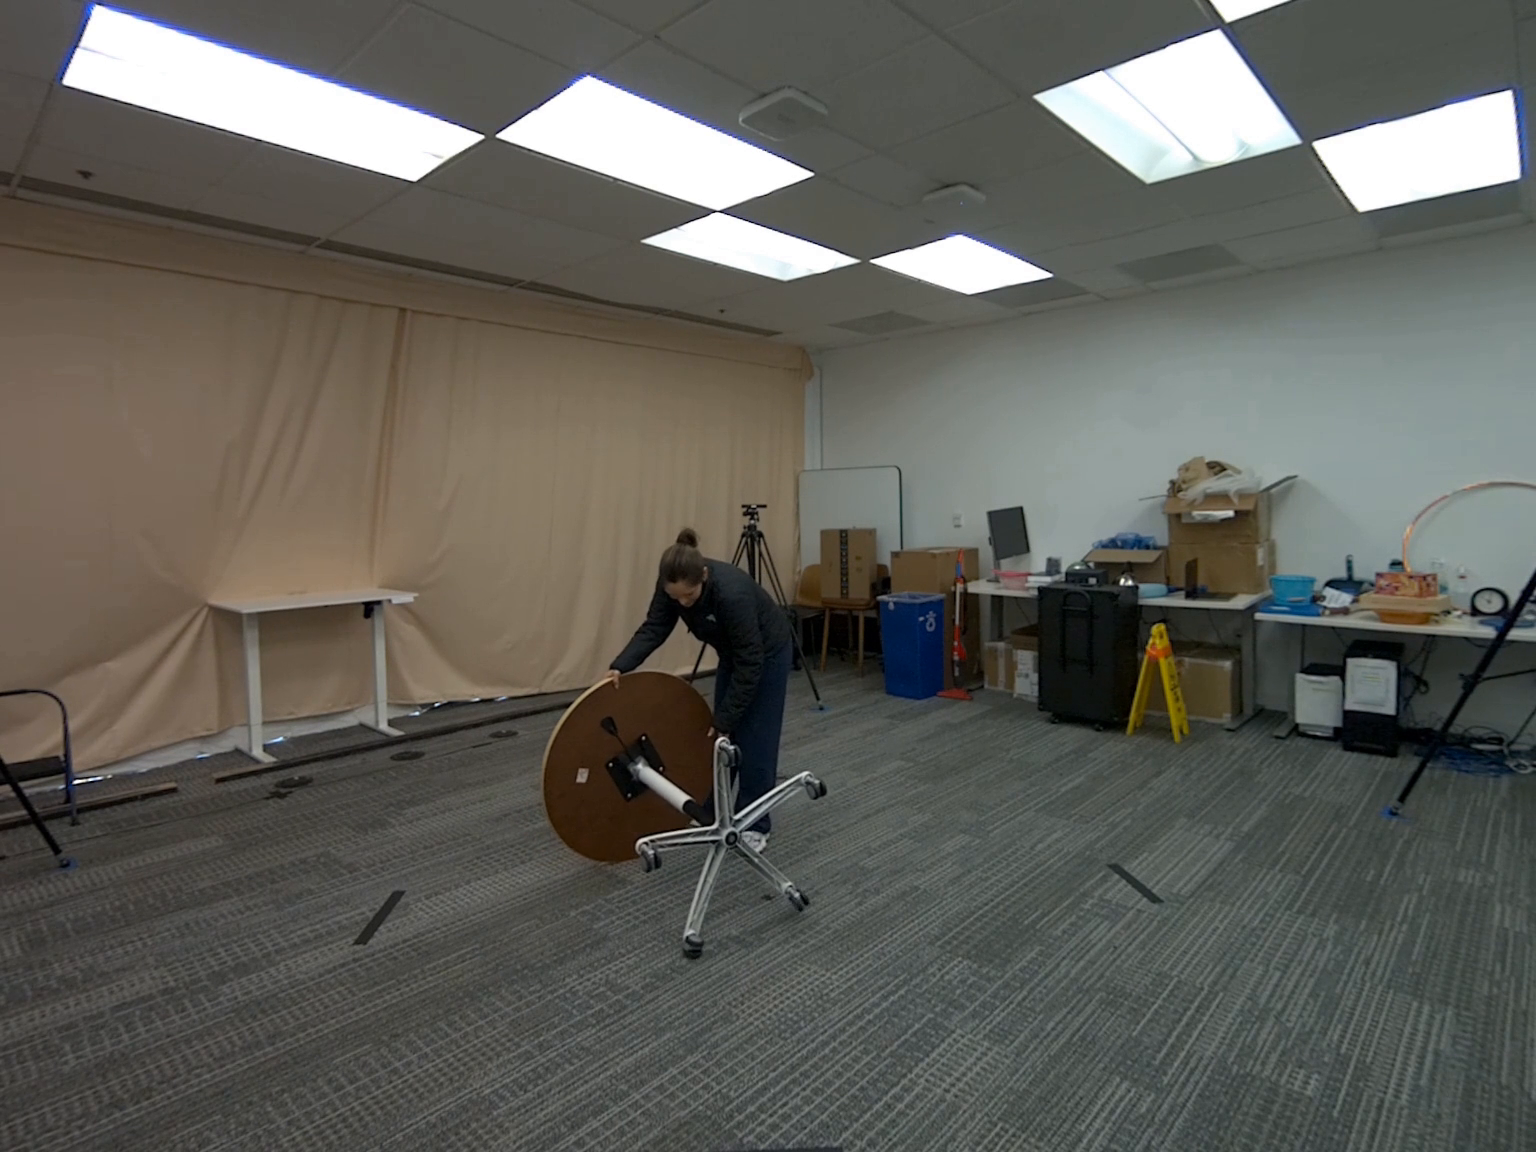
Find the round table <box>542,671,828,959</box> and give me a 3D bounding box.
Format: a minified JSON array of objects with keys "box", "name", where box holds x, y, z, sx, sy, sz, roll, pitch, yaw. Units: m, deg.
[{"box":[-0.277,0.796,2.985,0.762,0.781,0.813,-4,10,-35],"name":"round table"}]
